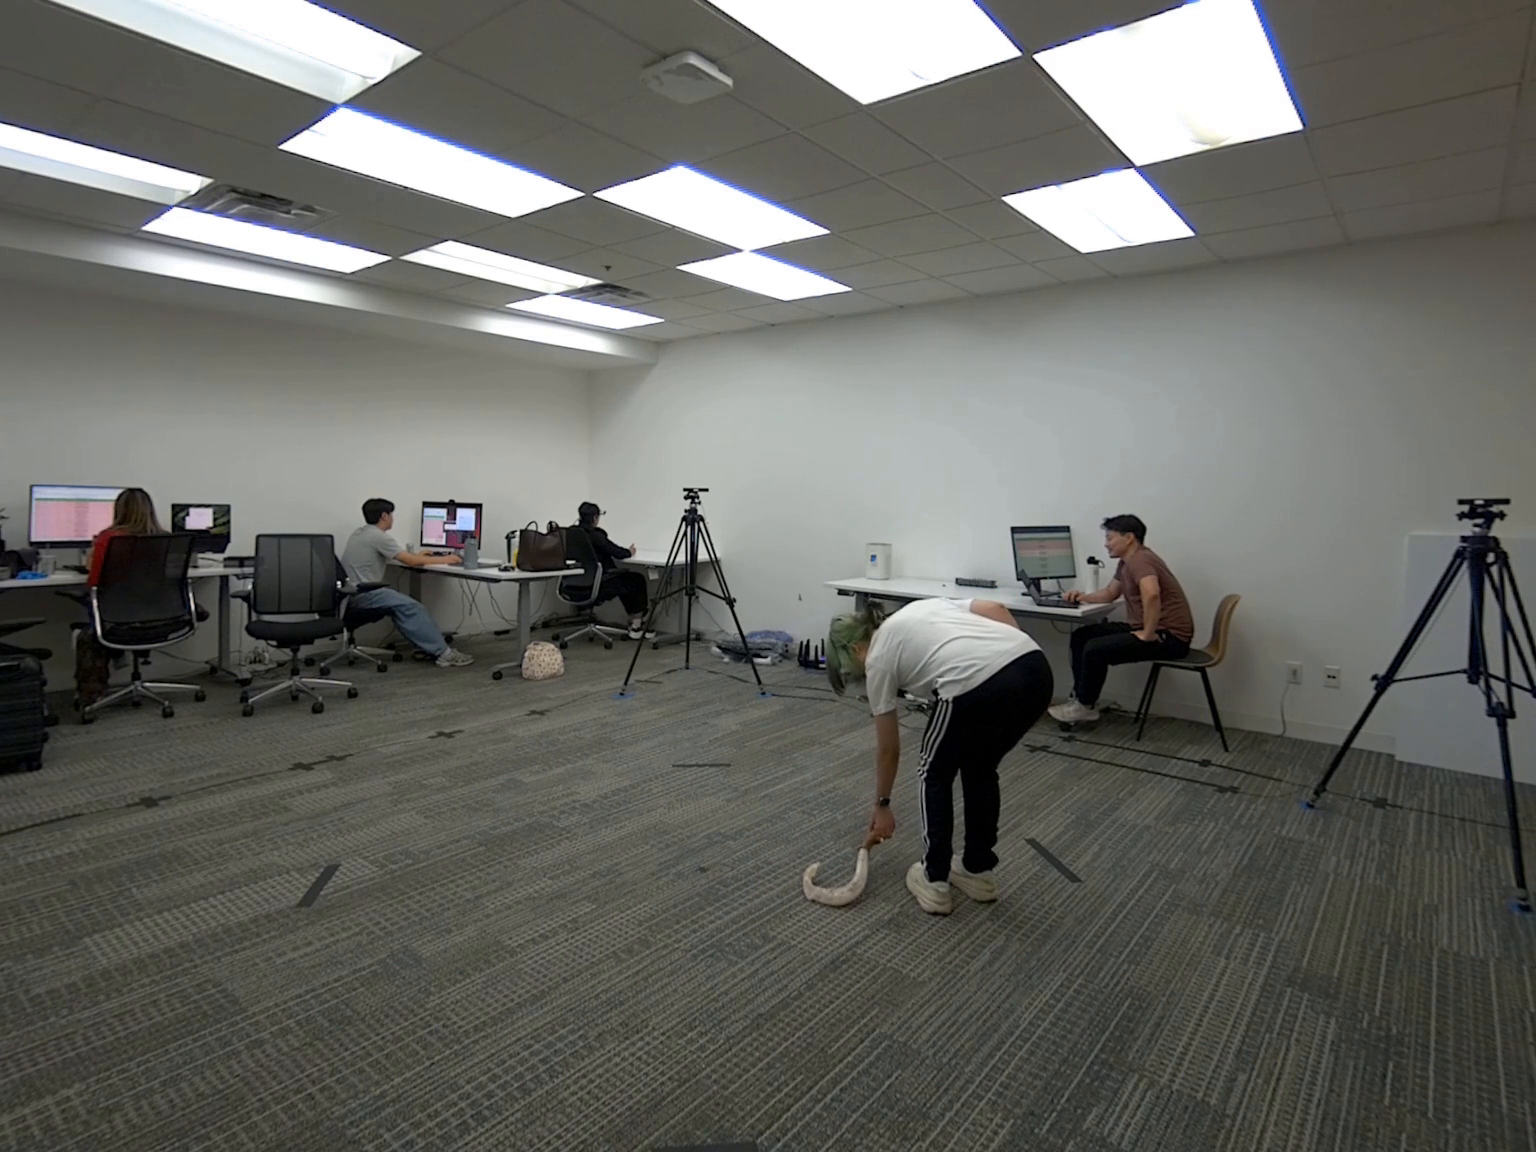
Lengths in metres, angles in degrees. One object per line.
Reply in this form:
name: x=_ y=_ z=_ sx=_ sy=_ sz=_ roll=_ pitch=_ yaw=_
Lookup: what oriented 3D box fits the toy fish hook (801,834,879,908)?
toy fish hook: x=0.282 y=1.021 z=3.064 sx=0.231 sy=0.047 sz=0.500 roll=4 pitch=18 yaw=27
